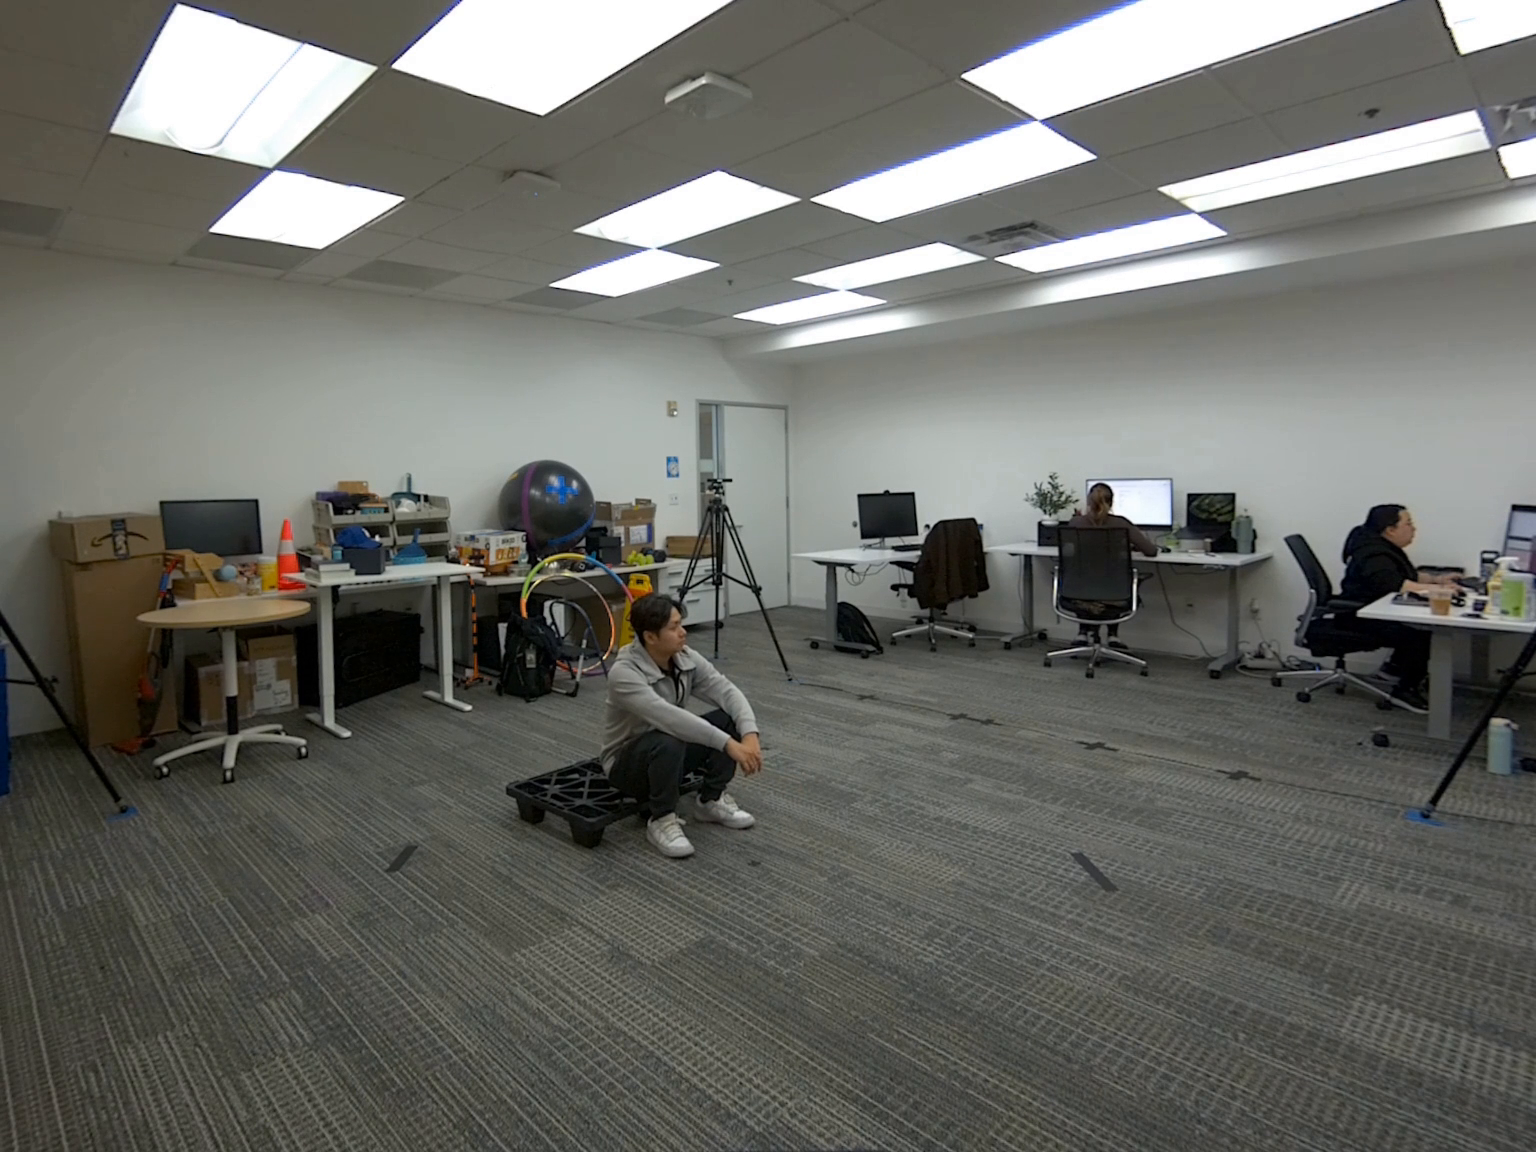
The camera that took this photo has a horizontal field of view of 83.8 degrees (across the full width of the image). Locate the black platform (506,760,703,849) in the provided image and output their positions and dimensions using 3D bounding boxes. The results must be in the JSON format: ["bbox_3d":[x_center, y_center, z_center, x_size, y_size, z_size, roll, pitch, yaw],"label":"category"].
[{"bbox_3d":[-0.617,0.927,3.673,0.624,0.142,0.785,5,9,41],"label":"black platform"}]
